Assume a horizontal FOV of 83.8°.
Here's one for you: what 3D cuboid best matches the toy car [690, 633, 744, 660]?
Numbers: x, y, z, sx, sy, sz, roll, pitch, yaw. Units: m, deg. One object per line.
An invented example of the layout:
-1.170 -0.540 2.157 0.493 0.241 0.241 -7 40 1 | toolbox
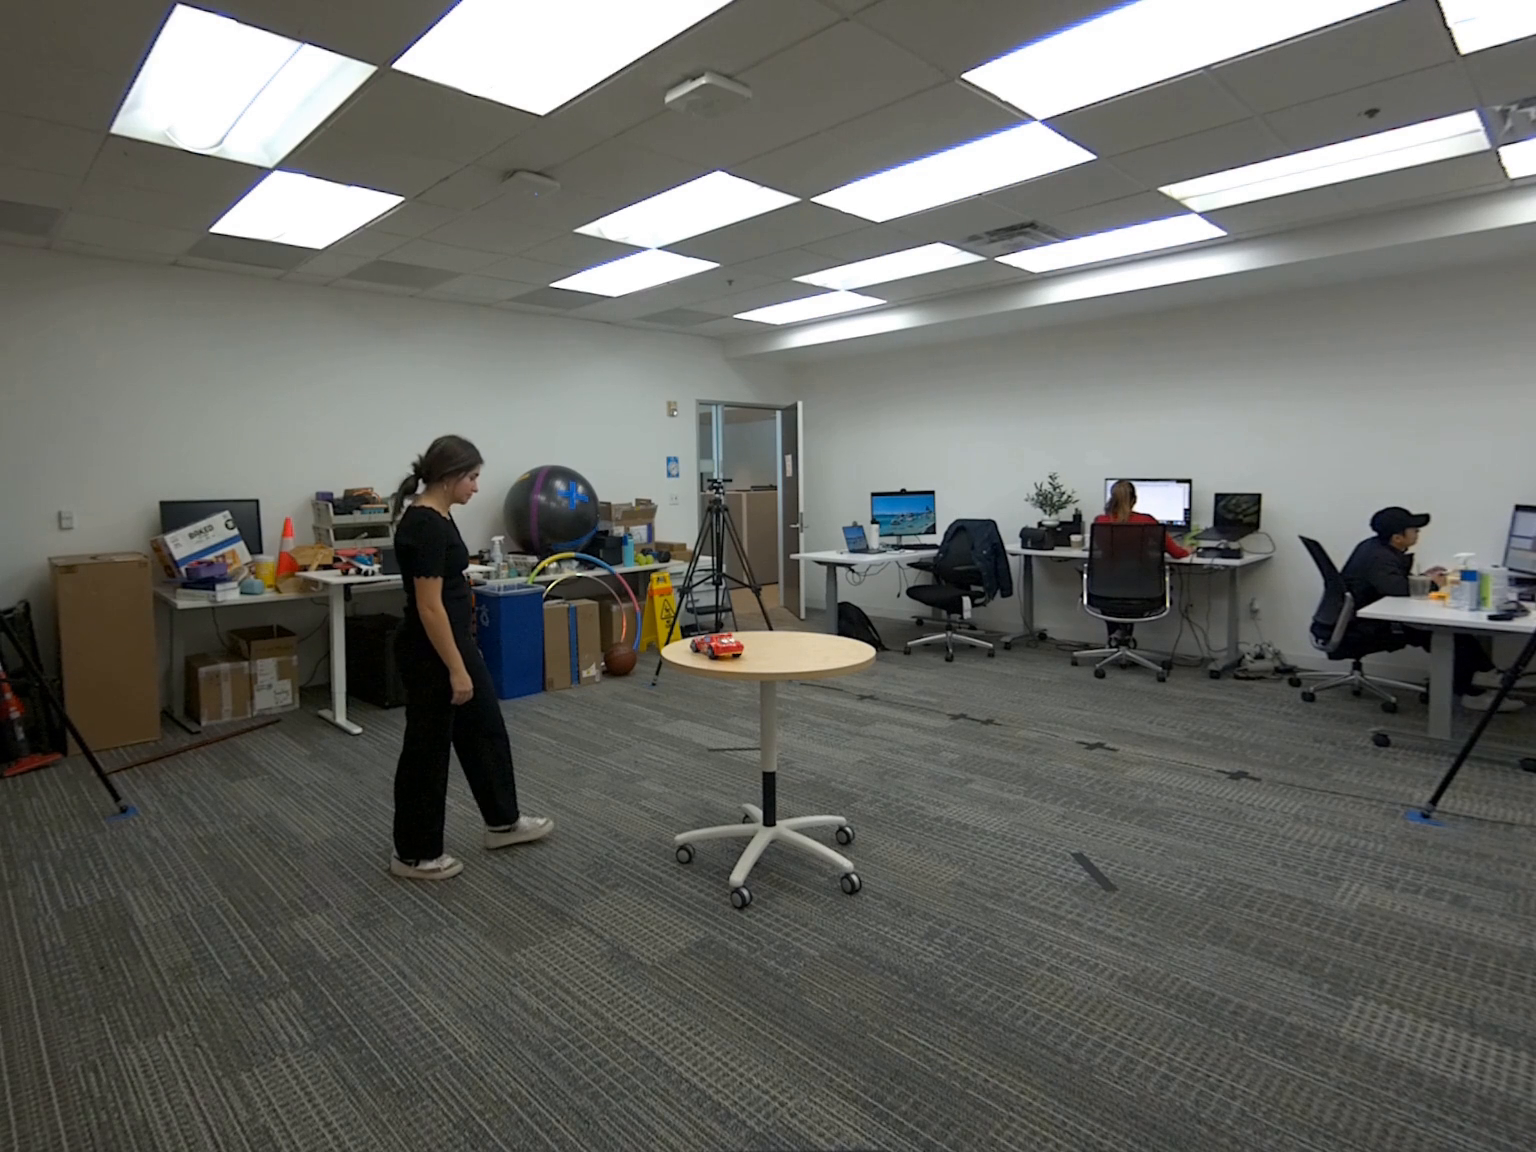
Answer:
-0.169 0.242 2.961 0.127 0.084 0.259 -3 -5 -28 | toy car
